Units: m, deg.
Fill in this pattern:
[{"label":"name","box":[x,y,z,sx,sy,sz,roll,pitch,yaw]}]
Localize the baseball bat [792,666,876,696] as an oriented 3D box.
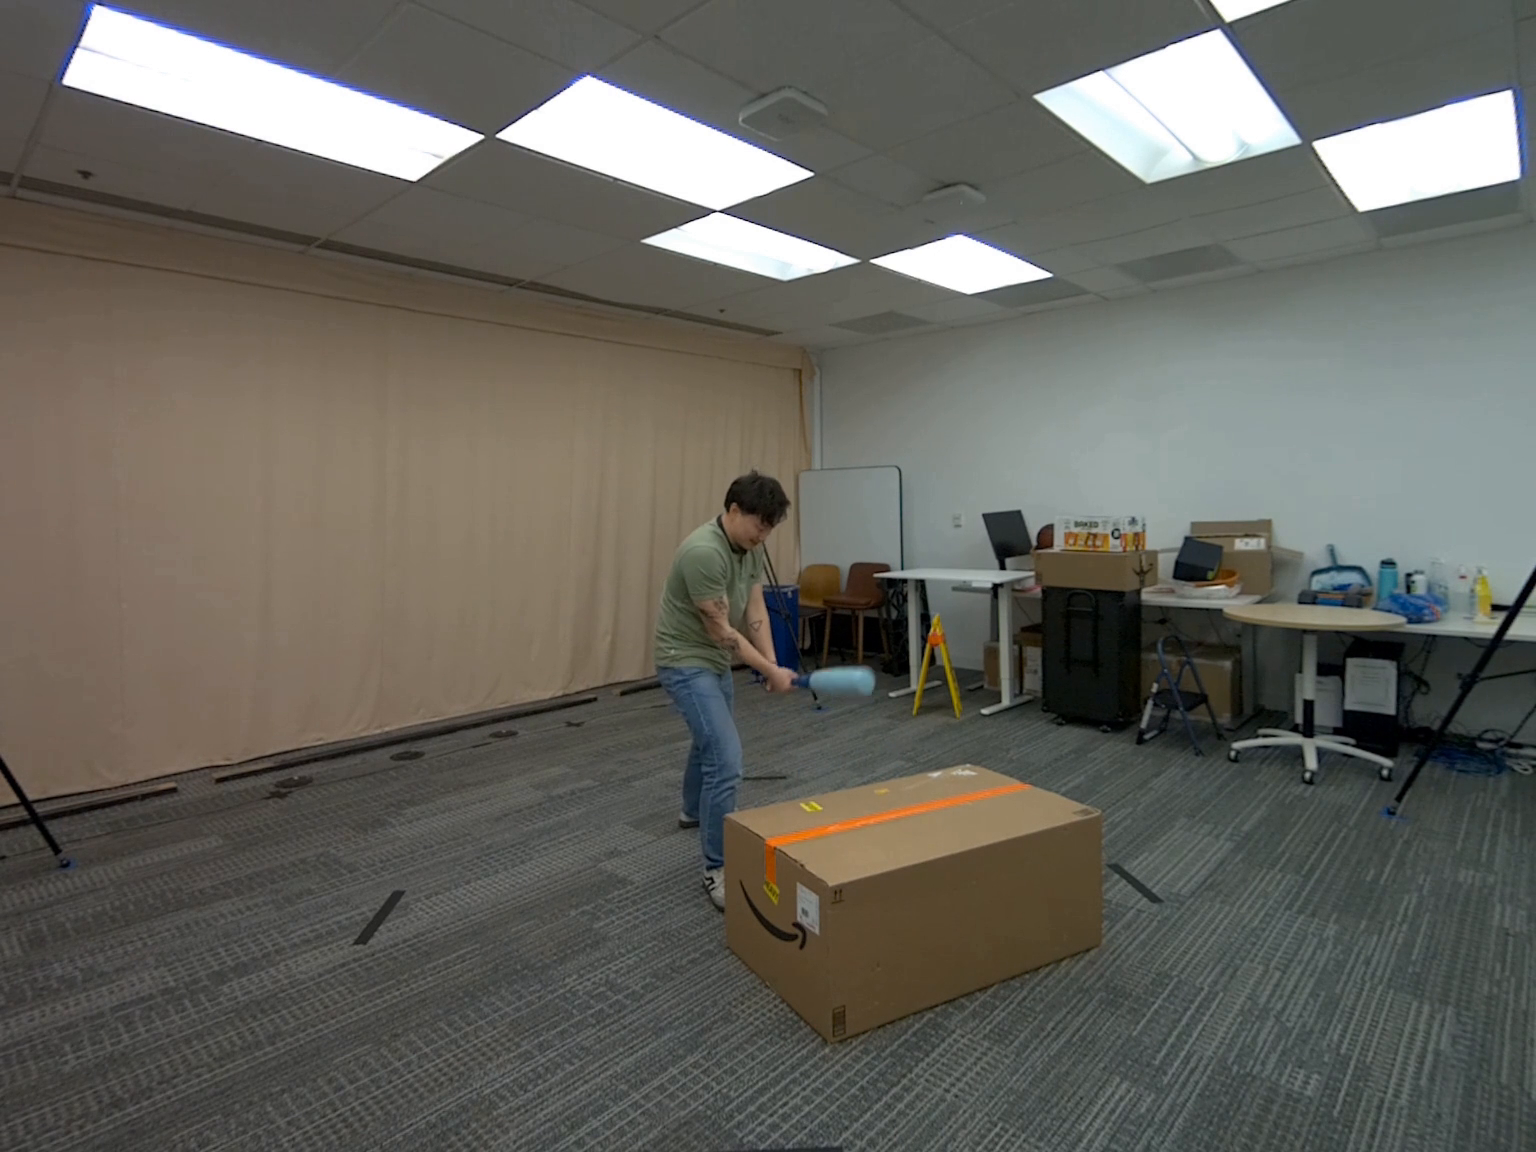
[{"label":"baseball bat","box":[0.147,0.335,2.962,0.086,0.089,0.557,-3,-5,-35]}]
